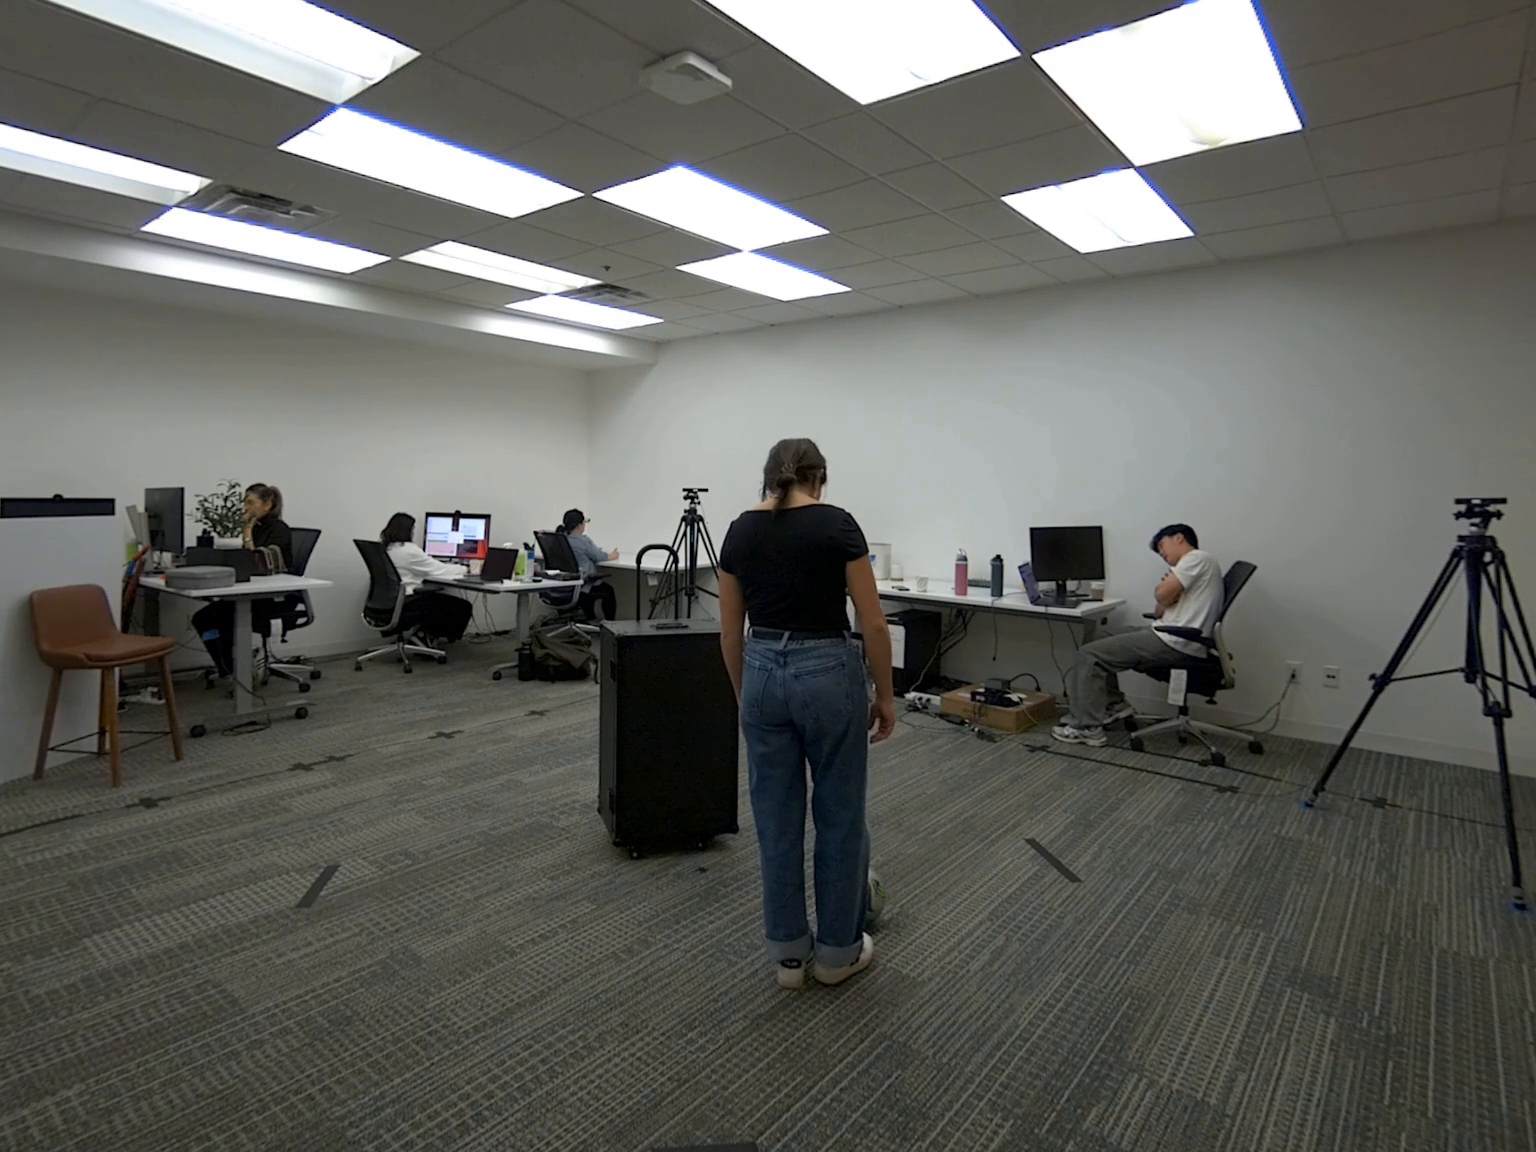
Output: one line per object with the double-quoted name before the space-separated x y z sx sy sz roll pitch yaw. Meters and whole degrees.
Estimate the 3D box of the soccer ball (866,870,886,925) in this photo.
"soccer ball" 0.299 1.015 2.753 0.187 0.187 0.188 1 4 -2
